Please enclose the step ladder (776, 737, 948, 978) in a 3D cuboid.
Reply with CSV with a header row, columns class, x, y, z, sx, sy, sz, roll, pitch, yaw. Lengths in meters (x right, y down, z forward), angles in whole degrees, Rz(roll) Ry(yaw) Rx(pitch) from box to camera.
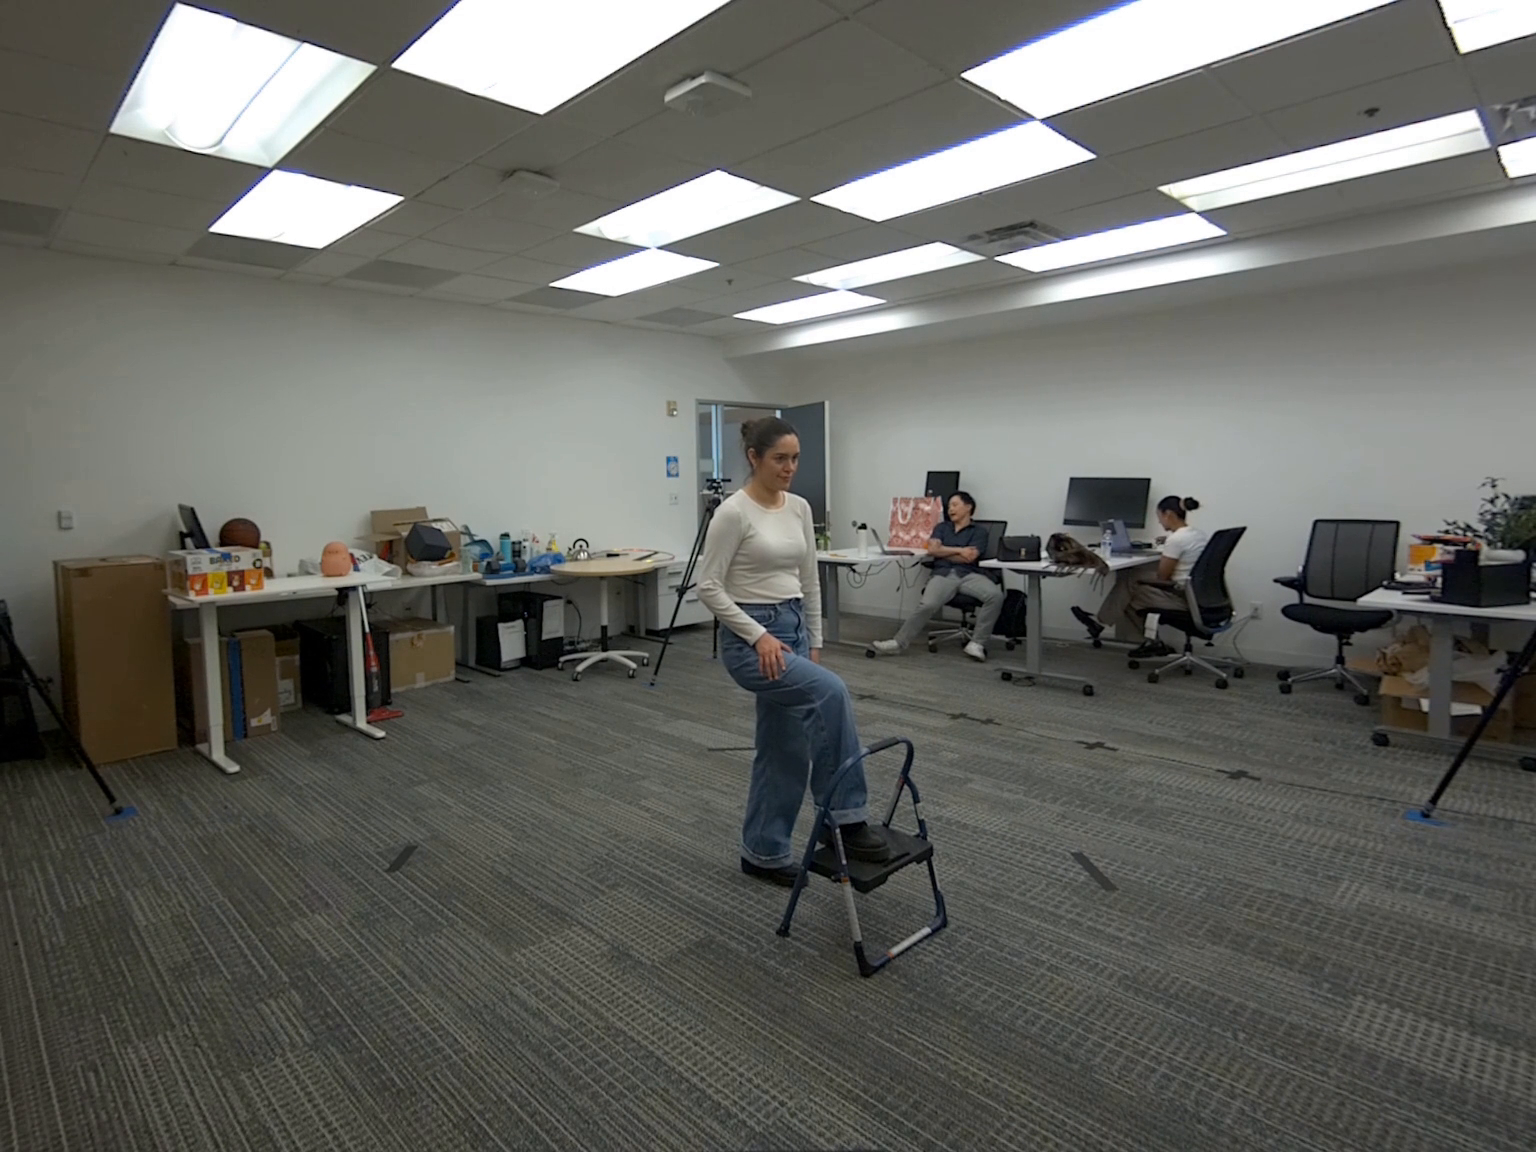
class,x,y,z,sx,sy,sz,roll,pitch,yaw
step ladder,0.293,0.793,2.622,0.360,0.603,0.419,3,7,44
